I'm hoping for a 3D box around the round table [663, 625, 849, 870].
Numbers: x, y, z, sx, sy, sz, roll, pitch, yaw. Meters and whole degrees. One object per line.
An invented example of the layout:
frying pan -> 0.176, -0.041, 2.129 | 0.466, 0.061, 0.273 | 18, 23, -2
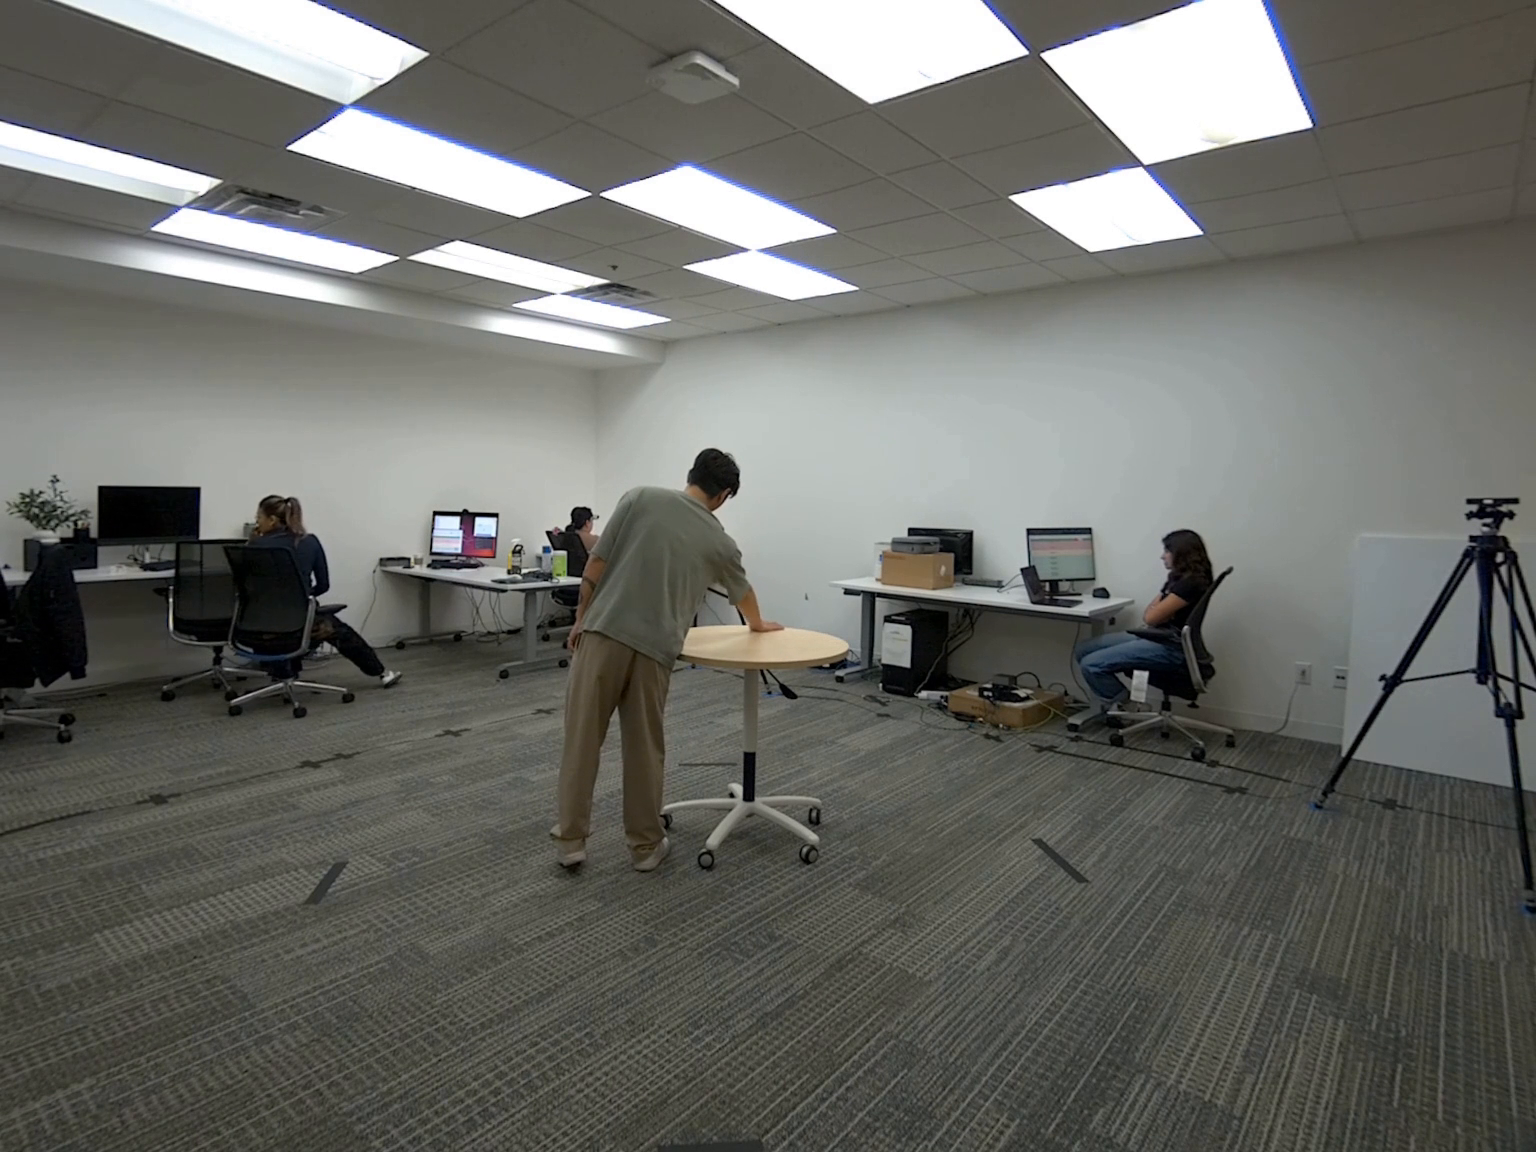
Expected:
round table -> -0.080, 0.651, 3.416 | 0.763, 0.791, 0.768 | 1, 4, -2
